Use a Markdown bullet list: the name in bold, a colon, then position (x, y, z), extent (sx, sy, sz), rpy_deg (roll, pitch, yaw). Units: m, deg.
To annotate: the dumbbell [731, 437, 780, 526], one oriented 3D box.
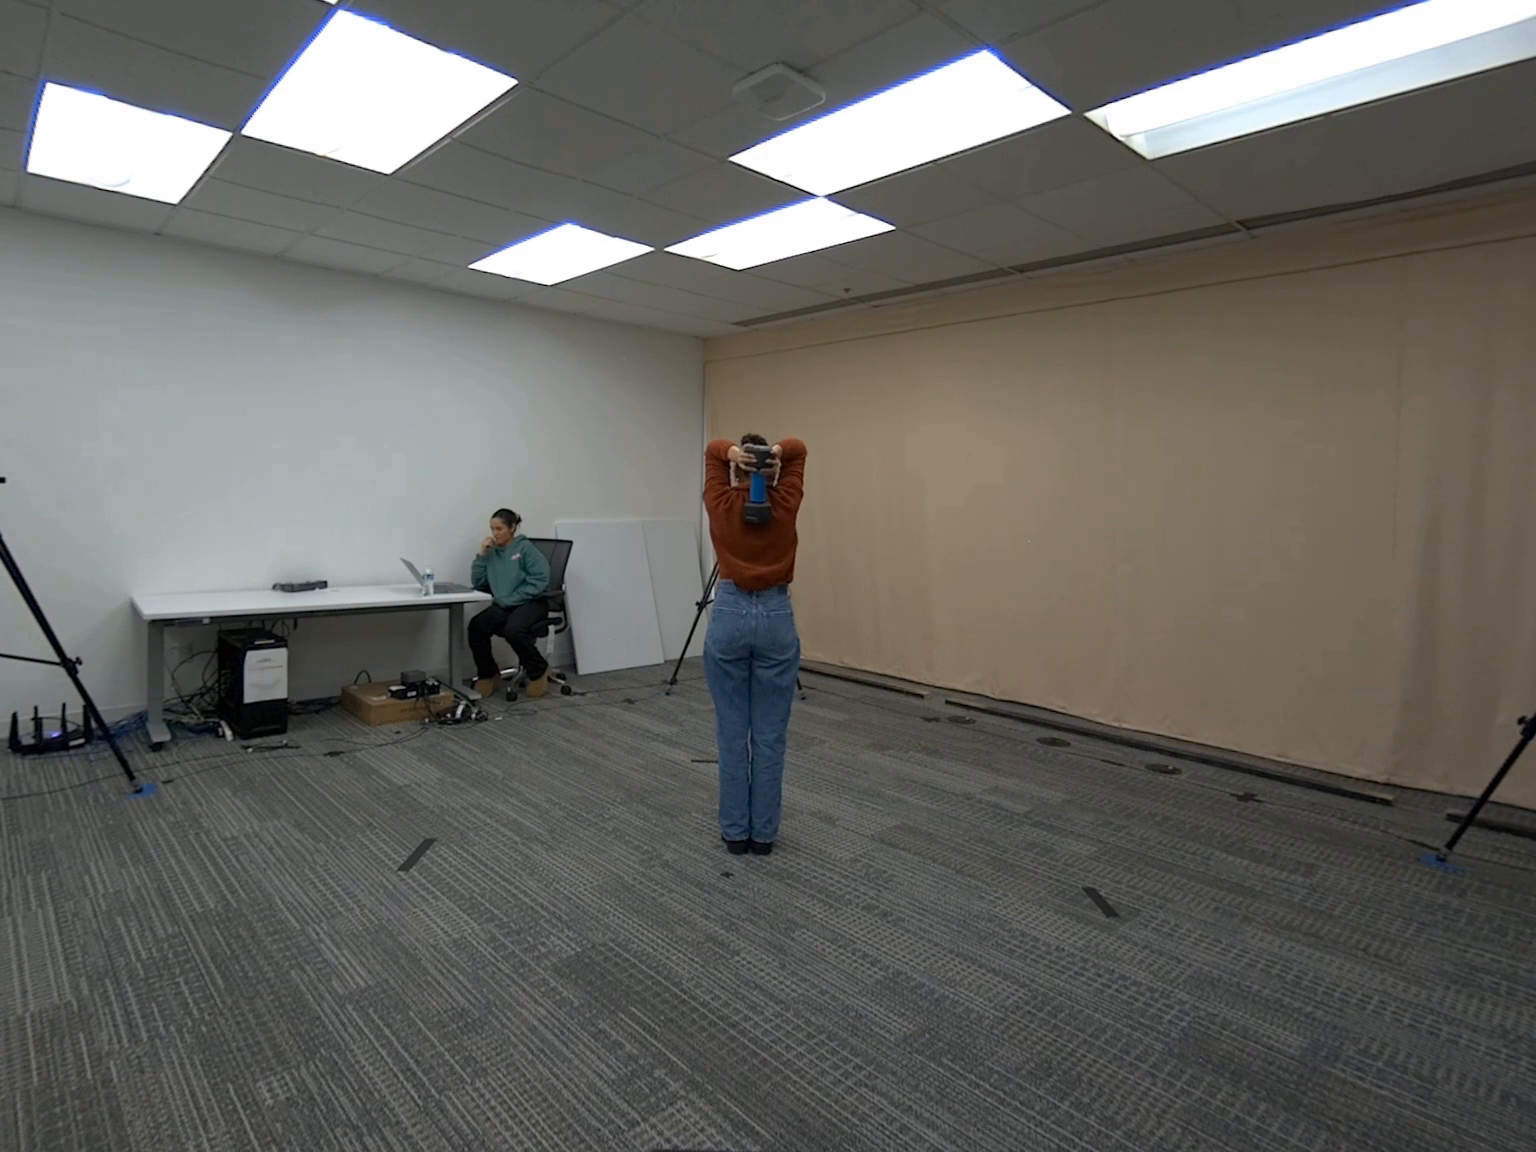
- **dumbbell**: position (-0.049, -0.347, 3.221), extent (0.108, 0.291, 0.124), rpy_deg (0, 9, -4)
